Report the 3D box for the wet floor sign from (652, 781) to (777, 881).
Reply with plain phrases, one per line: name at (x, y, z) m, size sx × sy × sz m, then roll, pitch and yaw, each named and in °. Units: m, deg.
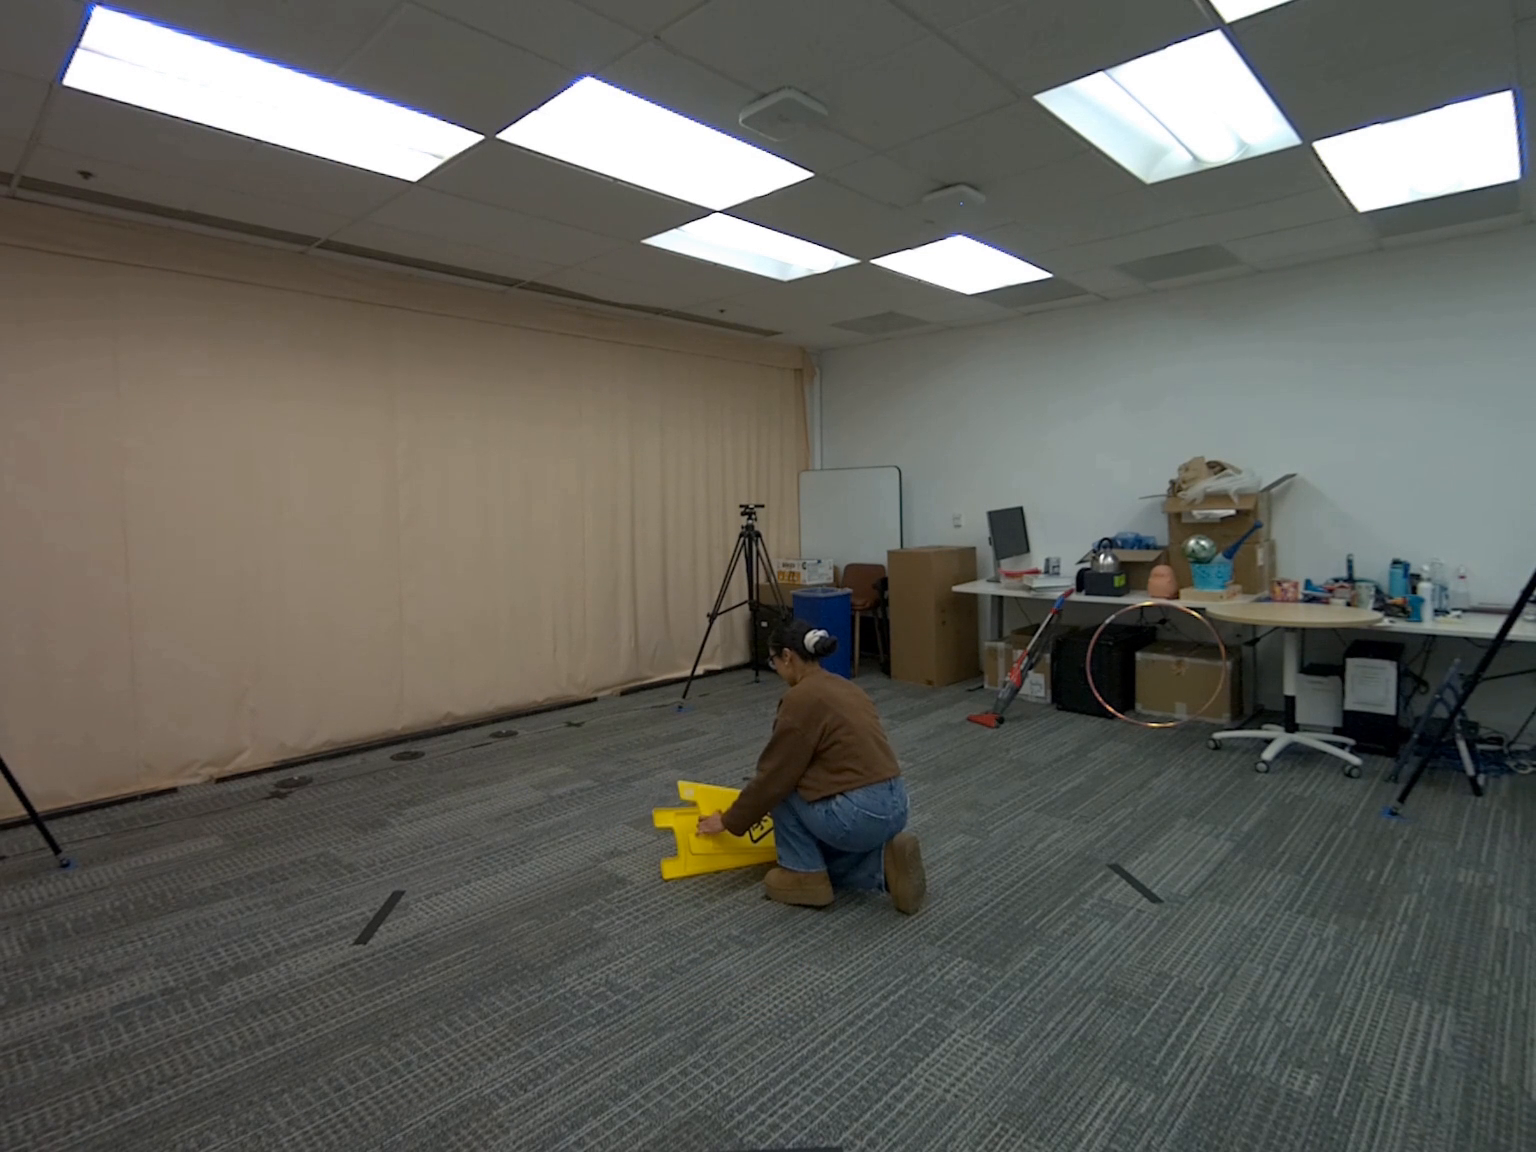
wet floor sign at (-0.085, 0.987, 3.274) m, size 0.629 × 0.289 × 0.290 m, roll 7°, pitch -42°, yaw -26°
